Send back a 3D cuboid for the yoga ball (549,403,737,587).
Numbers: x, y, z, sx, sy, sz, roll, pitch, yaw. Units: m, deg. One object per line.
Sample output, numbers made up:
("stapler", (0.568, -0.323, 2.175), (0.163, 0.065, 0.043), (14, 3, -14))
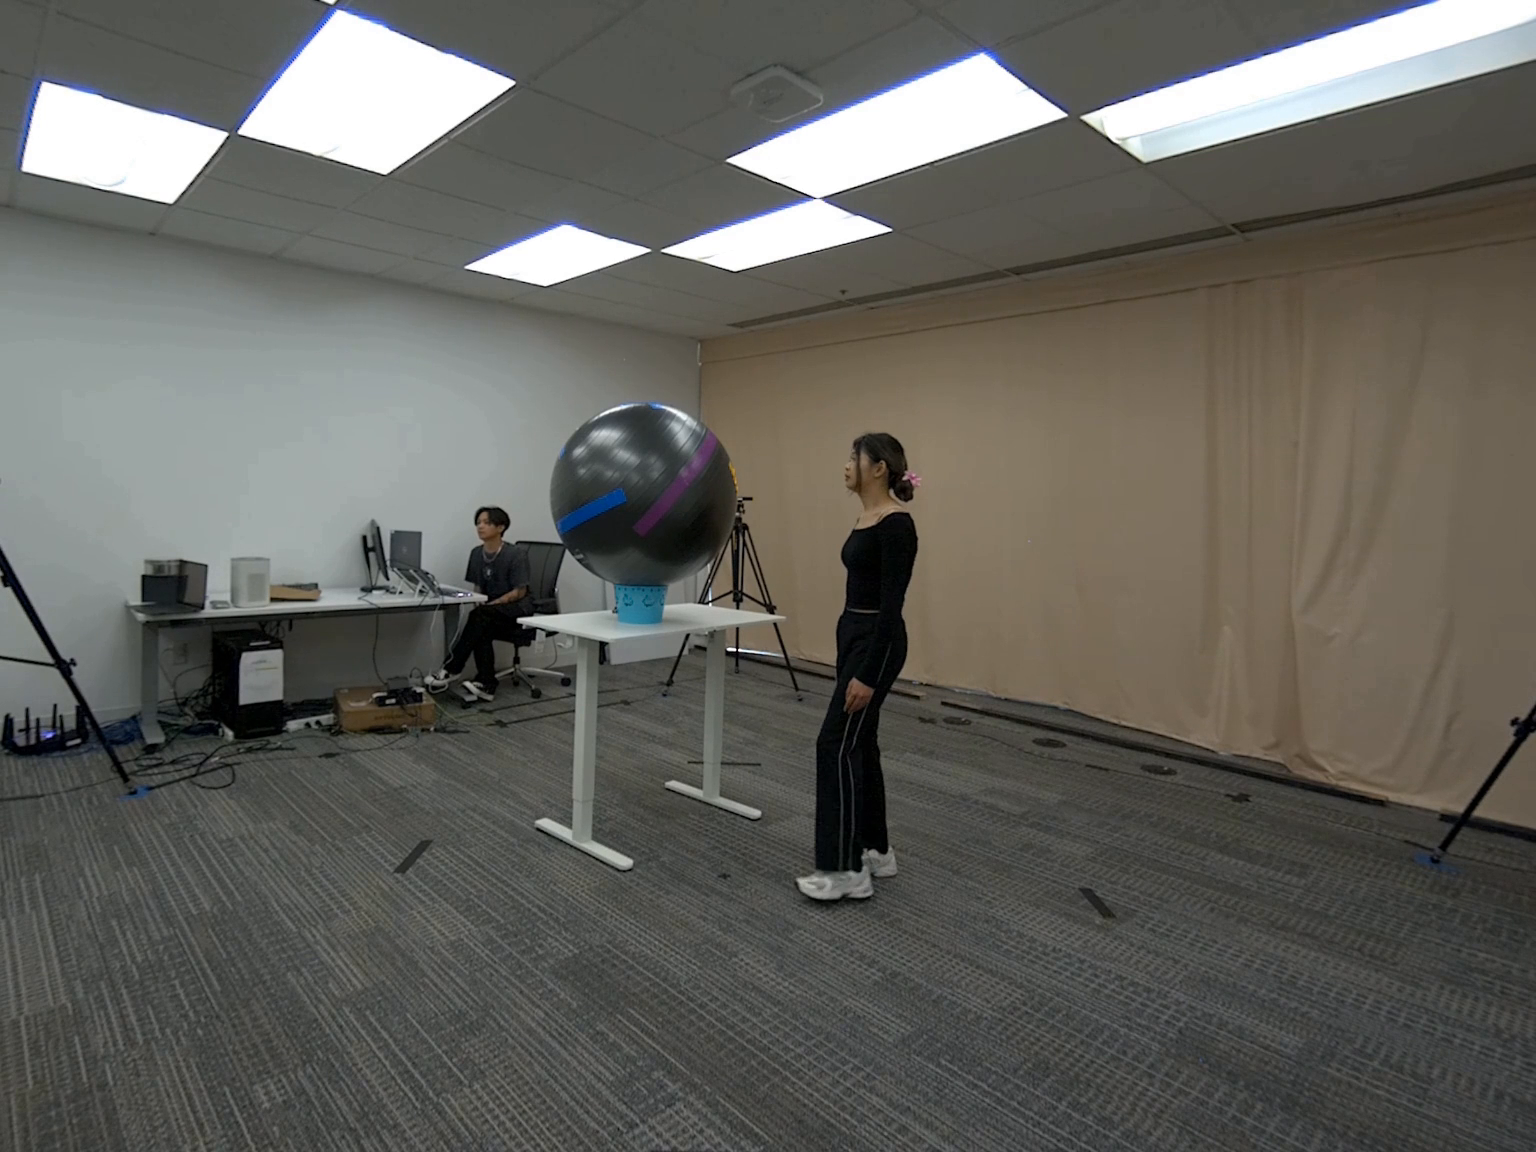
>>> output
("yoga ball", (-0.508, -0.317, 3.430), (0.757, 0.756, 0.760), (1, 4, -1))
